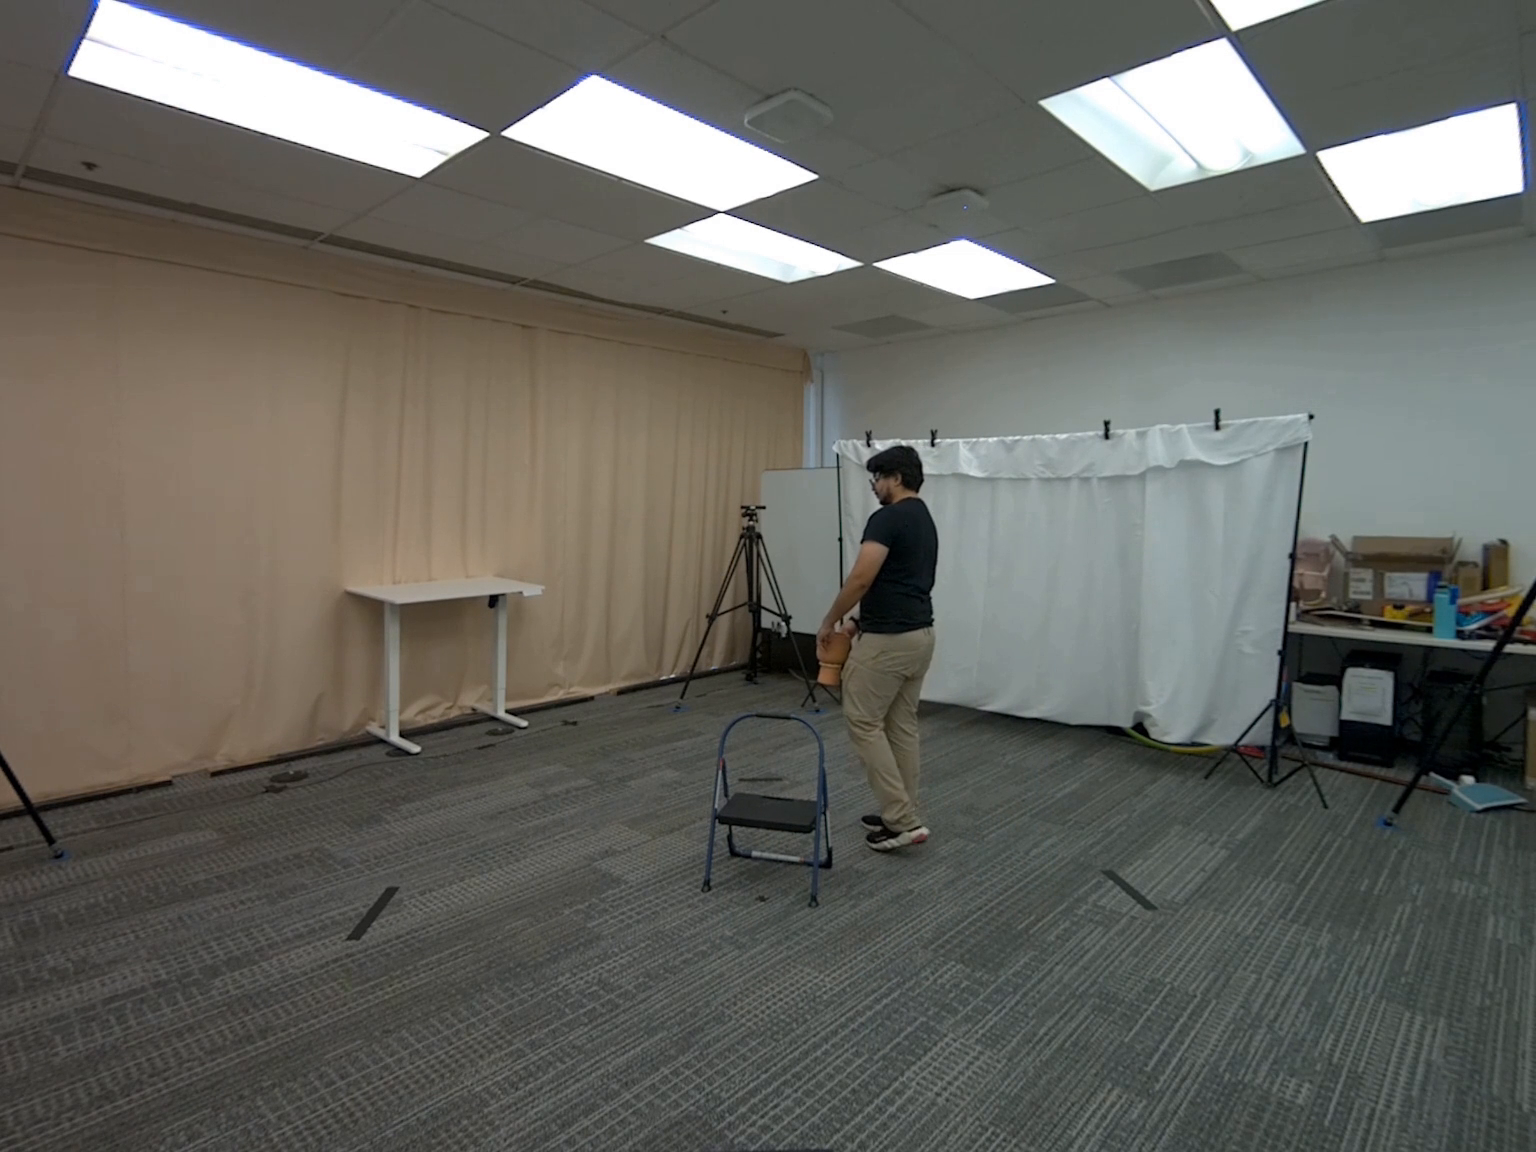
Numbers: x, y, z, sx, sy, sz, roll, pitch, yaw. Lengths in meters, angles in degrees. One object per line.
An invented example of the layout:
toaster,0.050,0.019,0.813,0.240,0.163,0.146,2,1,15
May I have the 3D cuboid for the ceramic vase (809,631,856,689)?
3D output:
ceramic vase,0.289,0.361,3.663,0.155,0.220,0.138,7,0,-22
